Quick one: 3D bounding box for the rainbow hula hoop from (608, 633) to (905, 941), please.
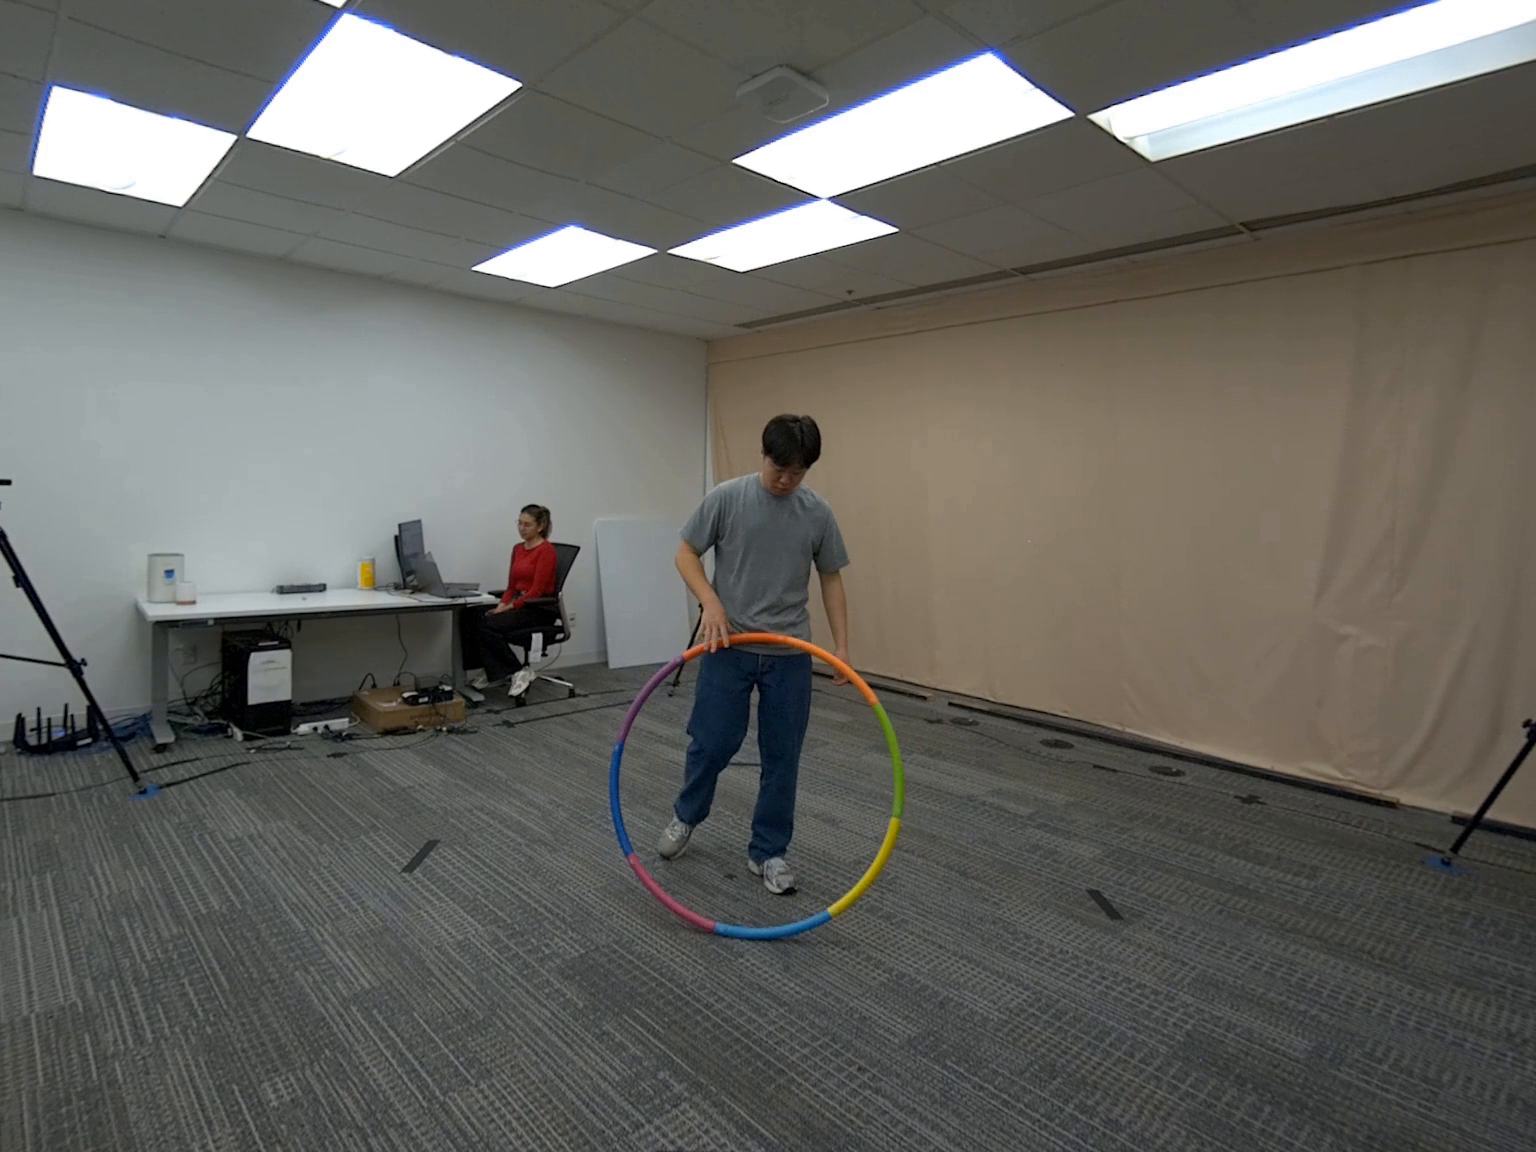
[{"bbox_3d":[-0.060,0.676,2.812,0.986,0.990,0.035,2,-18,10],"label":"rainbow hula hoop"}]
